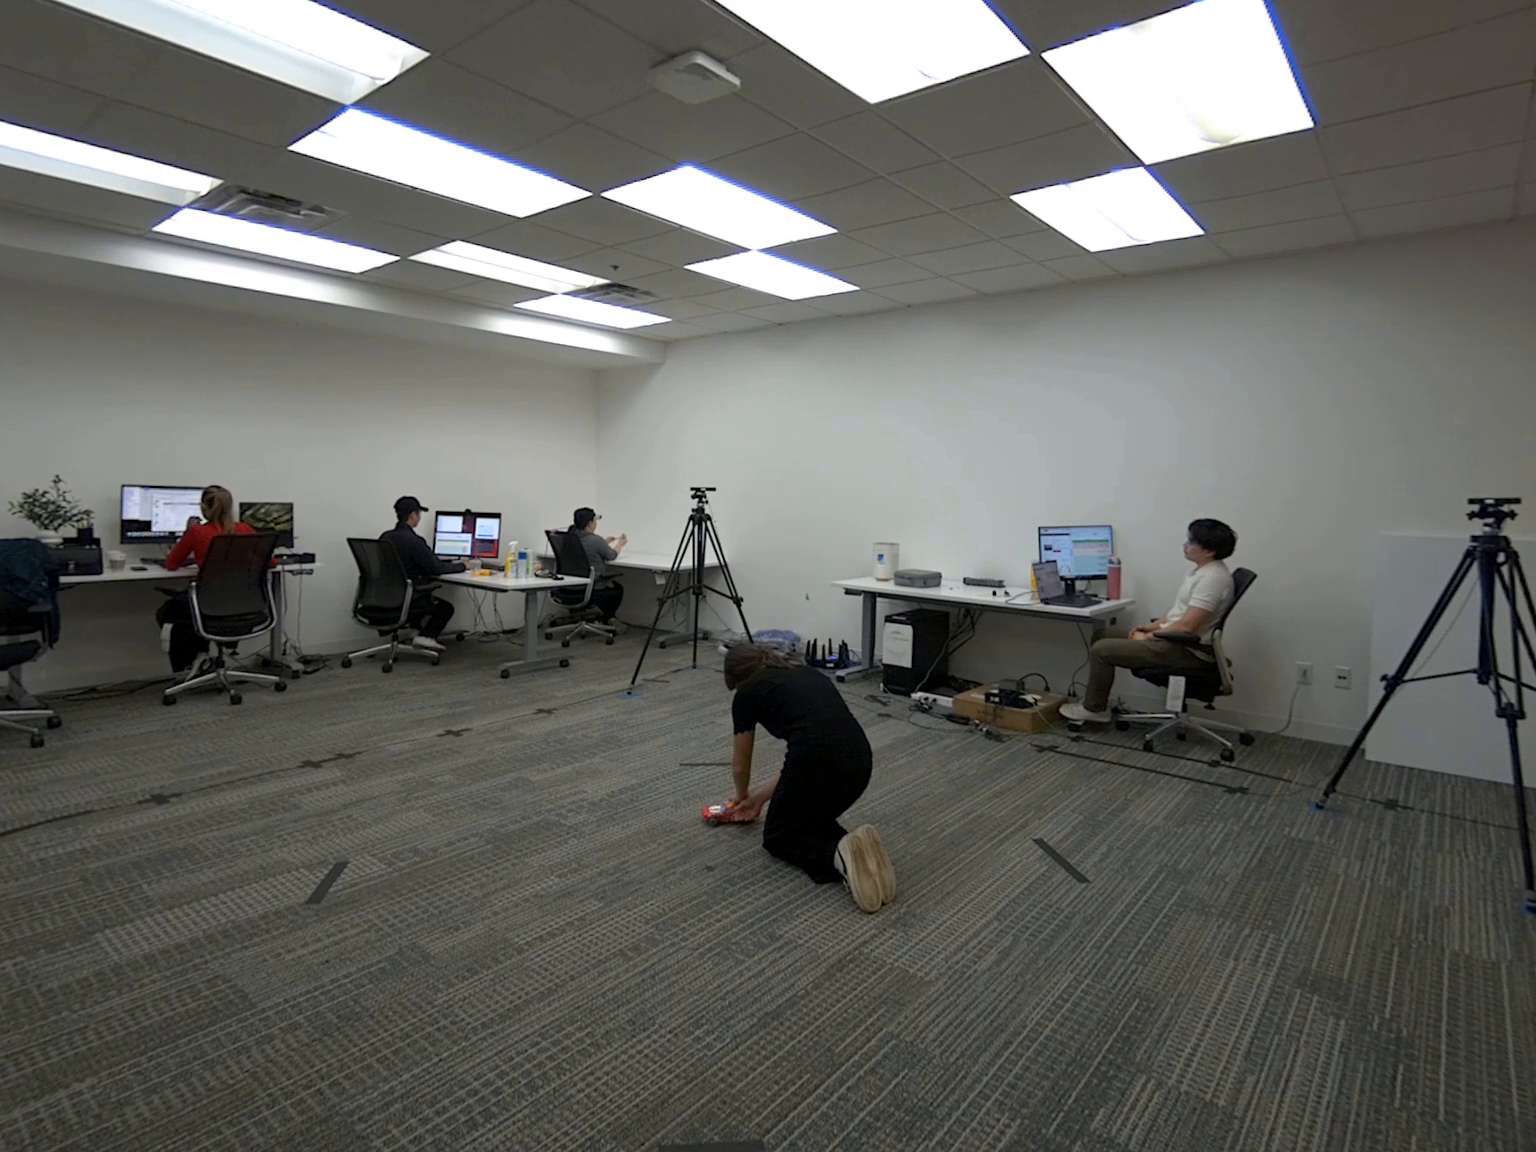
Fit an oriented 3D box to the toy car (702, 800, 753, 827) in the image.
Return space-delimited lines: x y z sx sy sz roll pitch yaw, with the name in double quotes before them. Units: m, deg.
"toy car" -0.154 0.988 3.567 0.253 0.082 0.132 -12 8 -9
